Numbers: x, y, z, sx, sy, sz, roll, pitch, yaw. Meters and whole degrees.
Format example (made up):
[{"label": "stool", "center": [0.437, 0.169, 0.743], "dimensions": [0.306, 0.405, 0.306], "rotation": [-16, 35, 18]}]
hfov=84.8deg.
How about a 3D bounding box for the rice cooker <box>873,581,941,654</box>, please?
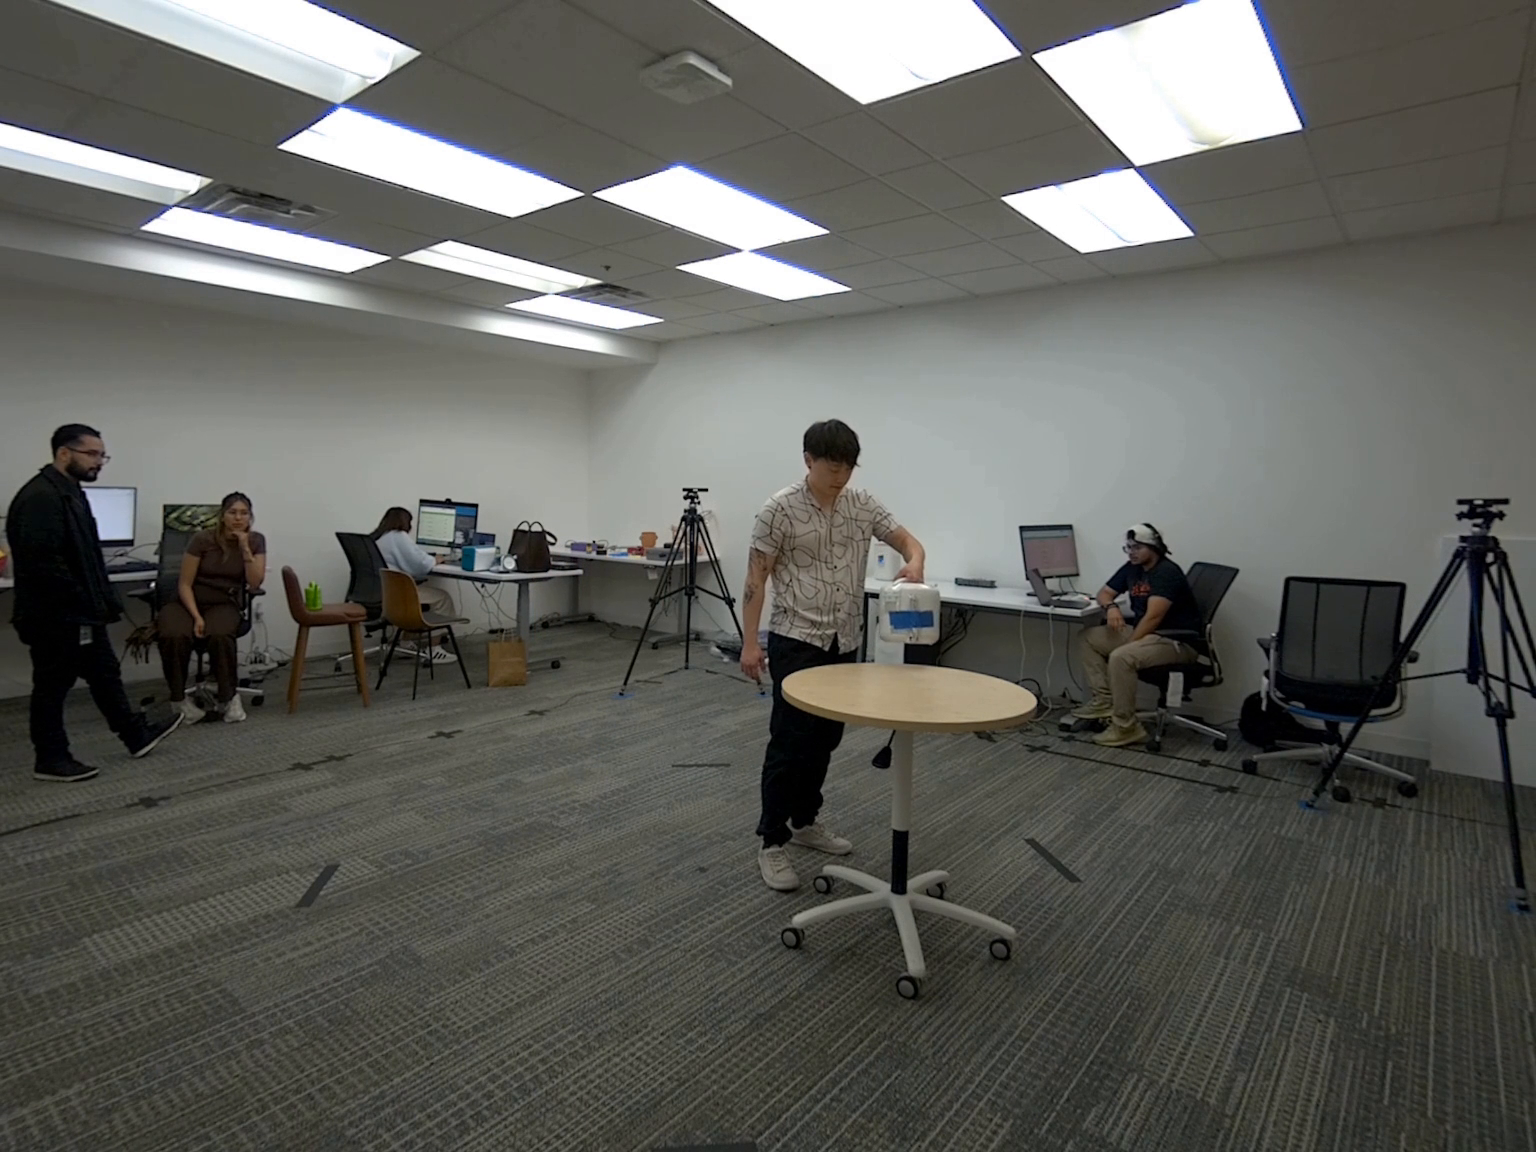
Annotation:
[{"label": "rice cooker", "center": [0.494, 0.119, 3.004], "dimensions": [0.213, 0.234, 0.224], "rotation": [8, -6, -41]}]
